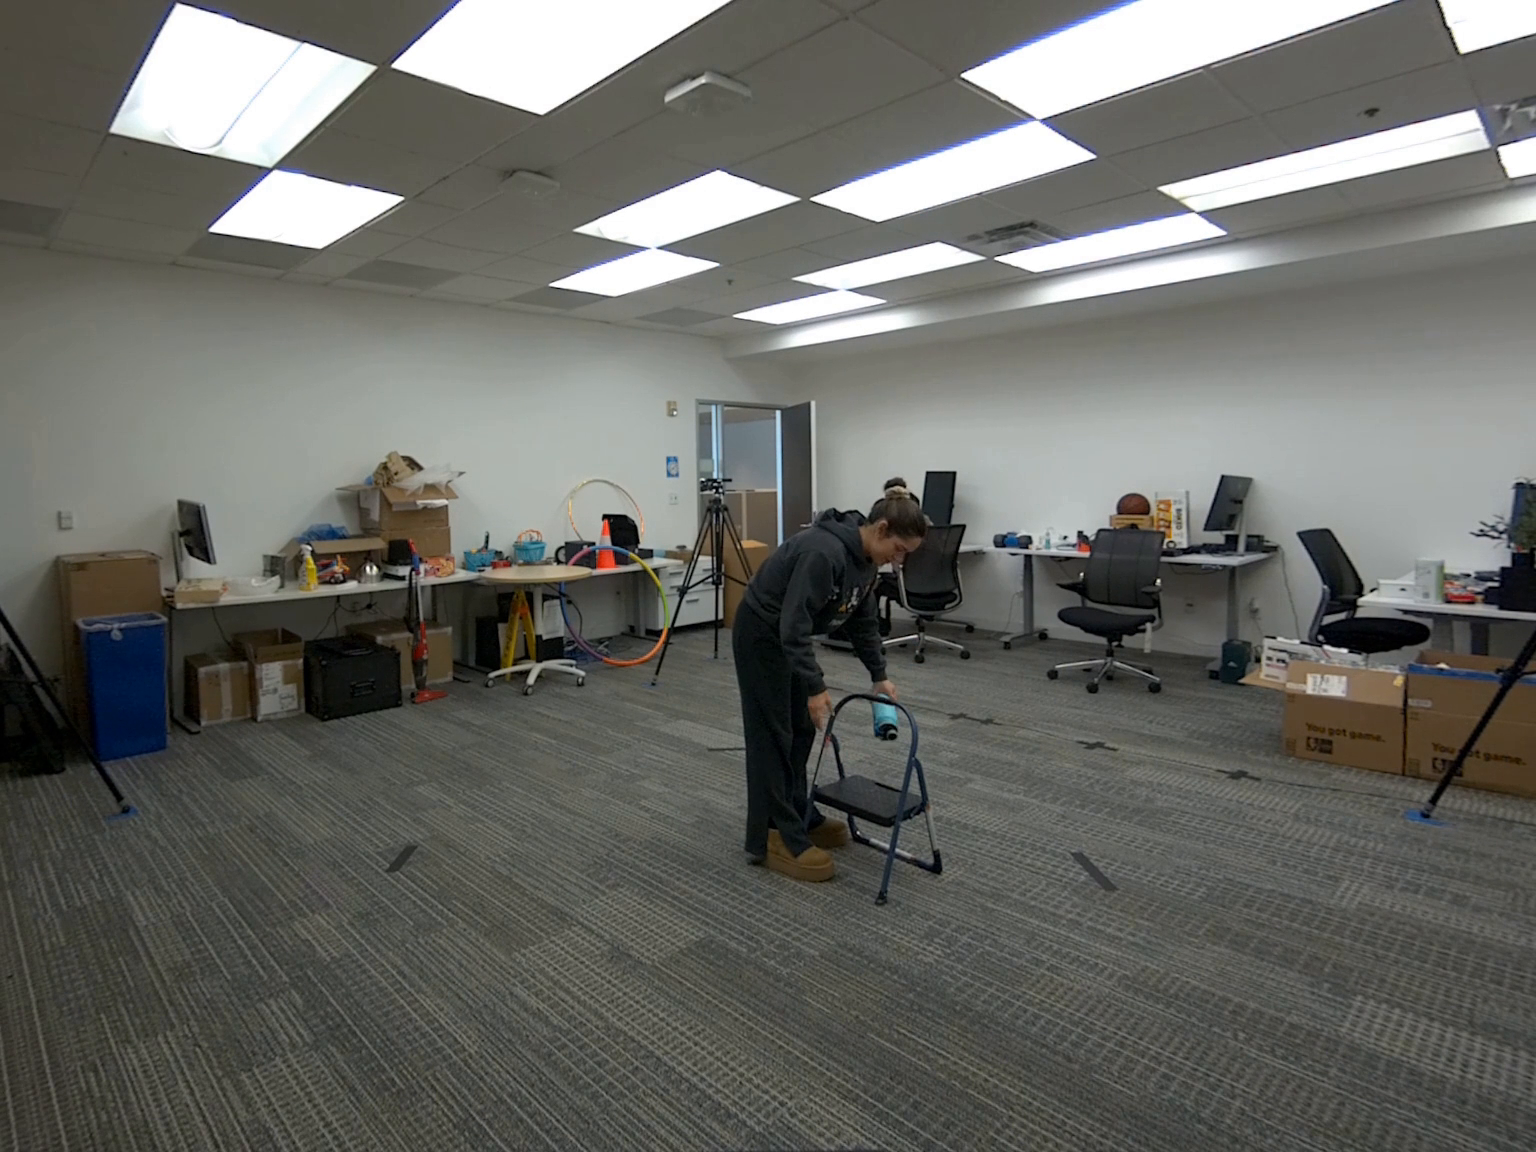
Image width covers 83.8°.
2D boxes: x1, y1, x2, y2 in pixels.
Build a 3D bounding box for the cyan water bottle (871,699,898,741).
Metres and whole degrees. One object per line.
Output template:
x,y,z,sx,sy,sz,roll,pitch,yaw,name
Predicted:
0.440,0.511,3.232,0.092,0.090,0.289,-1,28,0,cyan water bottle
